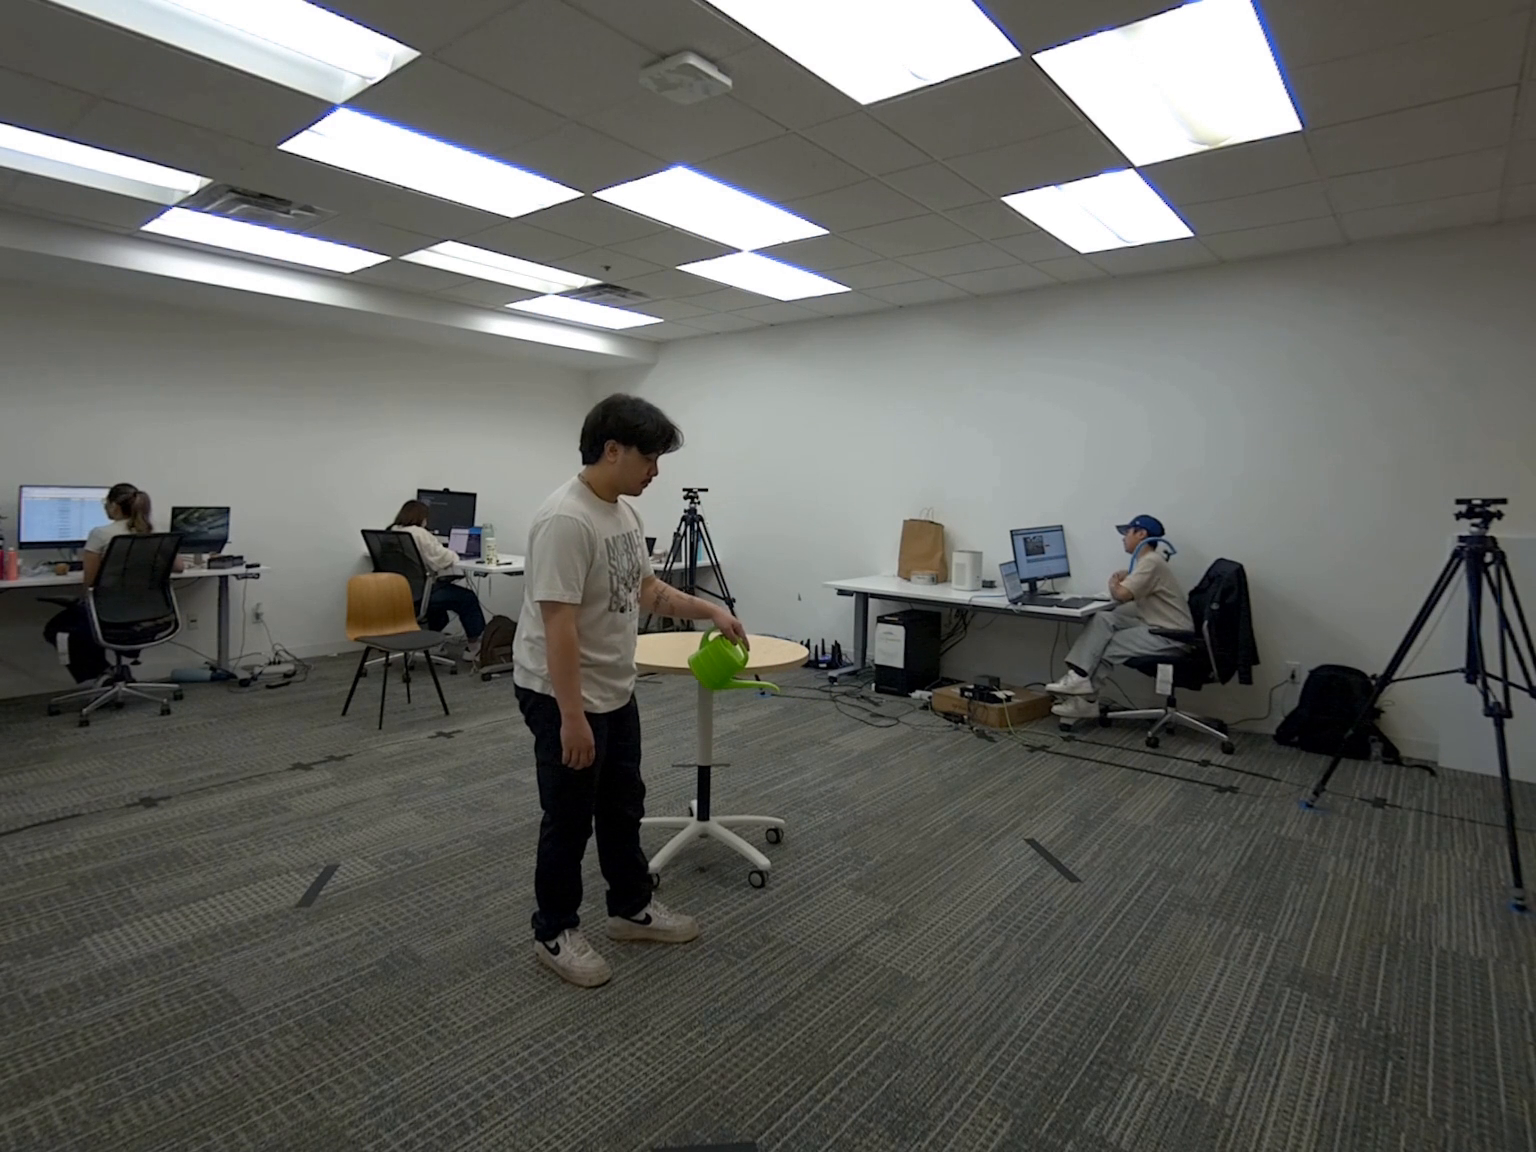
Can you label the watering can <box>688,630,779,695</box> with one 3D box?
[{"bbox_3d":[-0.131,0.290,2.578,0.177,0.285,0.095,-41,-16,13],"label":"watering can"}]
